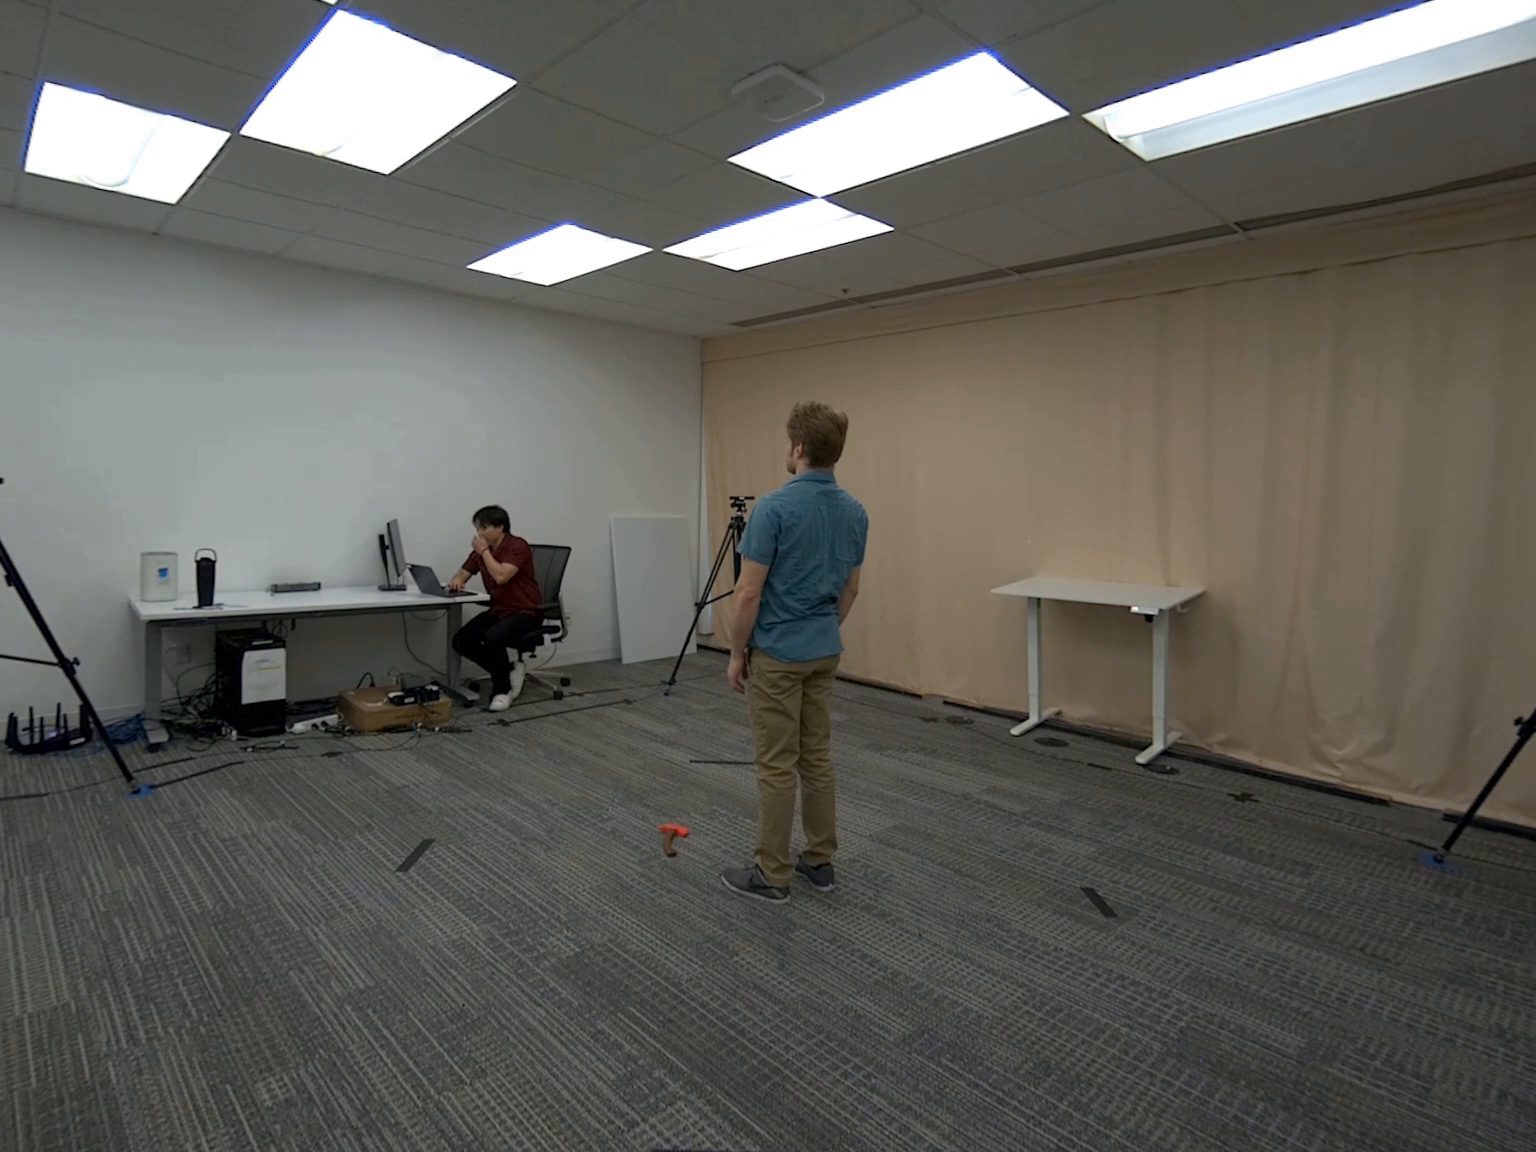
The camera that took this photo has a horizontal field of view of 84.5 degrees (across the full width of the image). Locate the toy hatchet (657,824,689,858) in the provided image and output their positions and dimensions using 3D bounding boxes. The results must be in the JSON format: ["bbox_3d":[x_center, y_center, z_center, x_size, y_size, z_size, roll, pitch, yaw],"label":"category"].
[{"bbox_3d":[-0.371,1.065,3.385,0.129,0.029,0.274,2,7,-16],"label":"toy hatchet"}]
